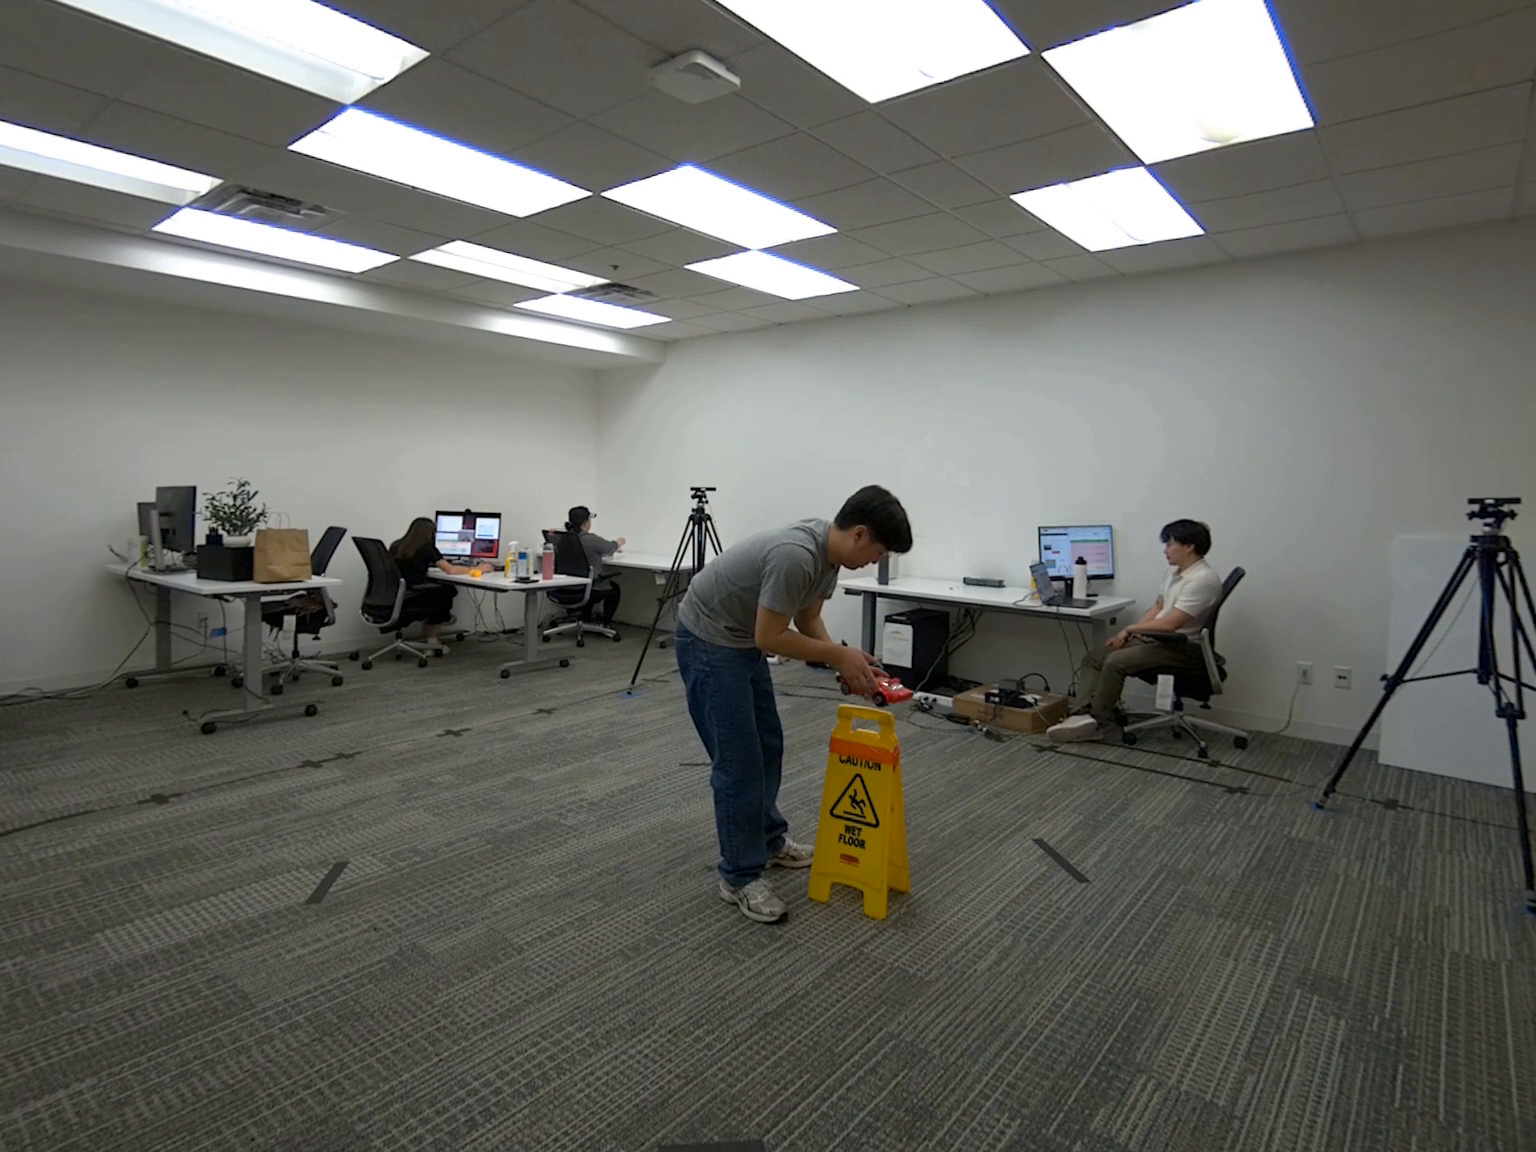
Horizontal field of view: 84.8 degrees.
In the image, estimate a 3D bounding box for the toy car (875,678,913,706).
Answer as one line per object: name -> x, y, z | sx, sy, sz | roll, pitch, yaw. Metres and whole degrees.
toy car -> 0.354, 0.384, 2.781 | 0.126, 0.083, 0.261 | -3, -3, -42
